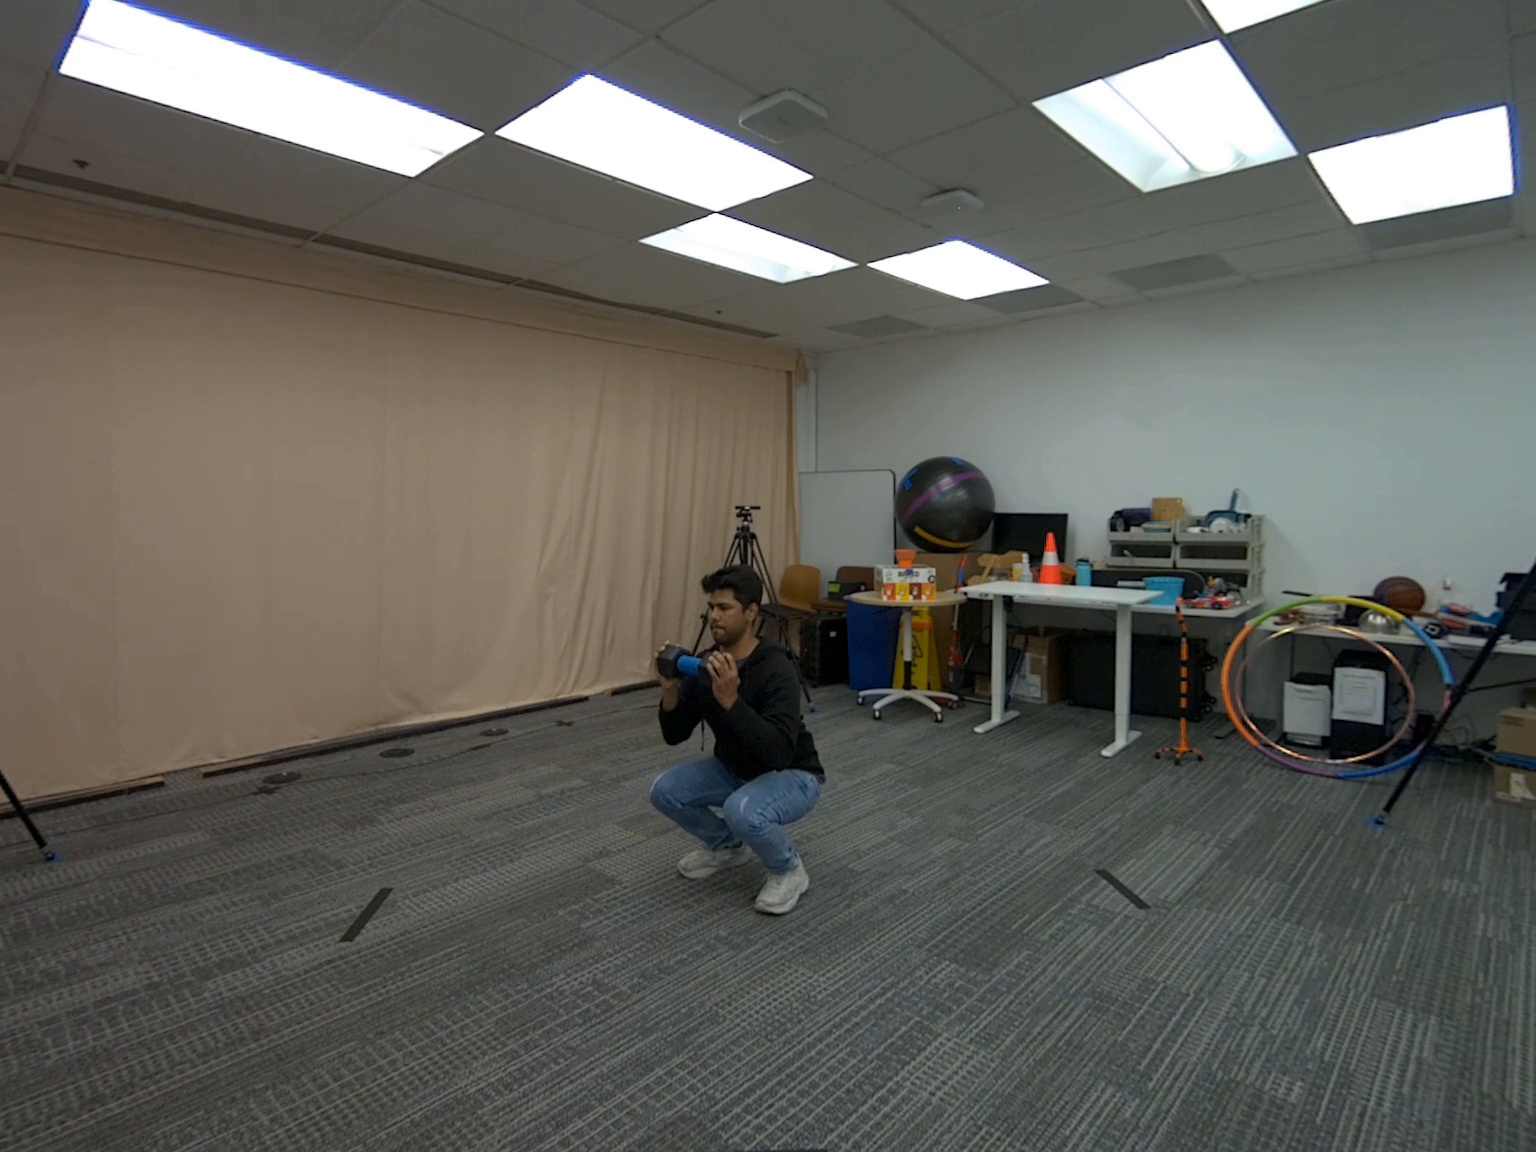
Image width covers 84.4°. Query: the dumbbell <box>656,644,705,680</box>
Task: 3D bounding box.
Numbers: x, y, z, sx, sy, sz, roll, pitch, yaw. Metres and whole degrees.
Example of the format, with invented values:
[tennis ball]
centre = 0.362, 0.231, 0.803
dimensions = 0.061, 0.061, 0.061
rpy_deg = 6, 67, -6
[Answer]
[dumbbell]
centre = -0.244, 0.301, 2.880
dimensions = 0.303, 0.122, 0.106
rpy_deg = 6, 14, 44
